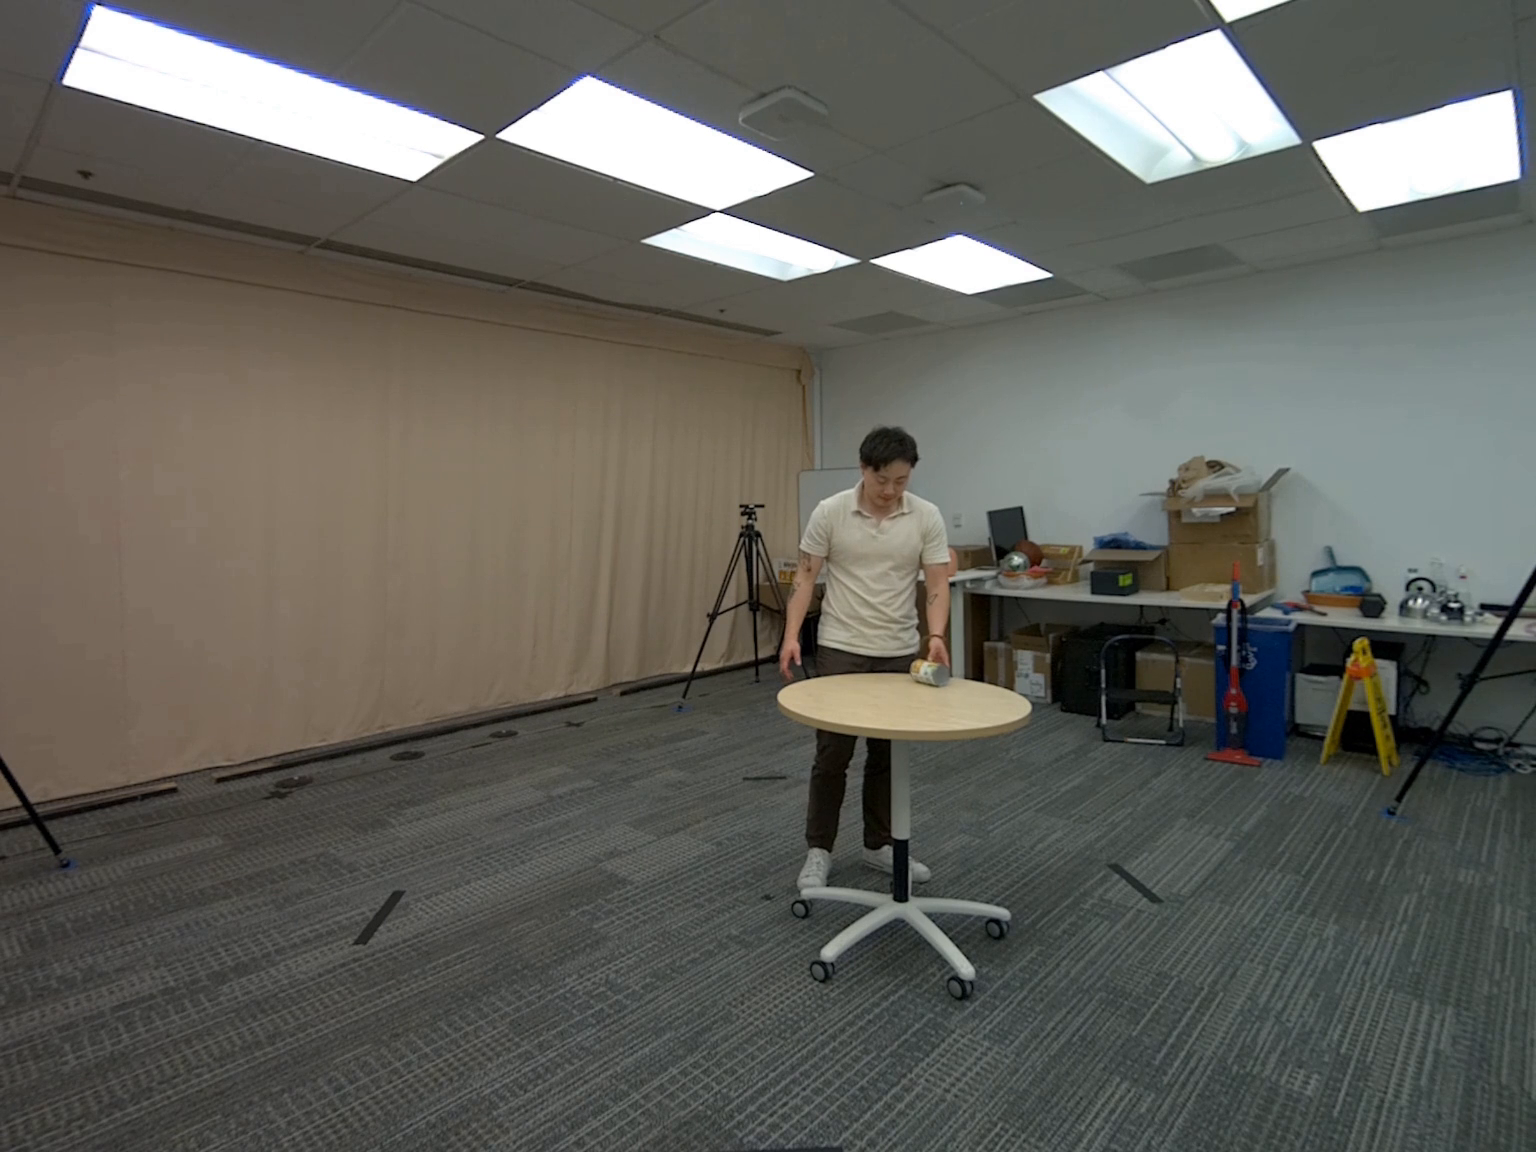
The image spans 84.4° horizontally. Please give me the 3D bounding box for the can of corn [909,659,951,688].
[{"bbox_3d":[0.531,0.323,2.810,0.072,0.074,0.114,-3,3,-29],"label":"can of corn"}]
